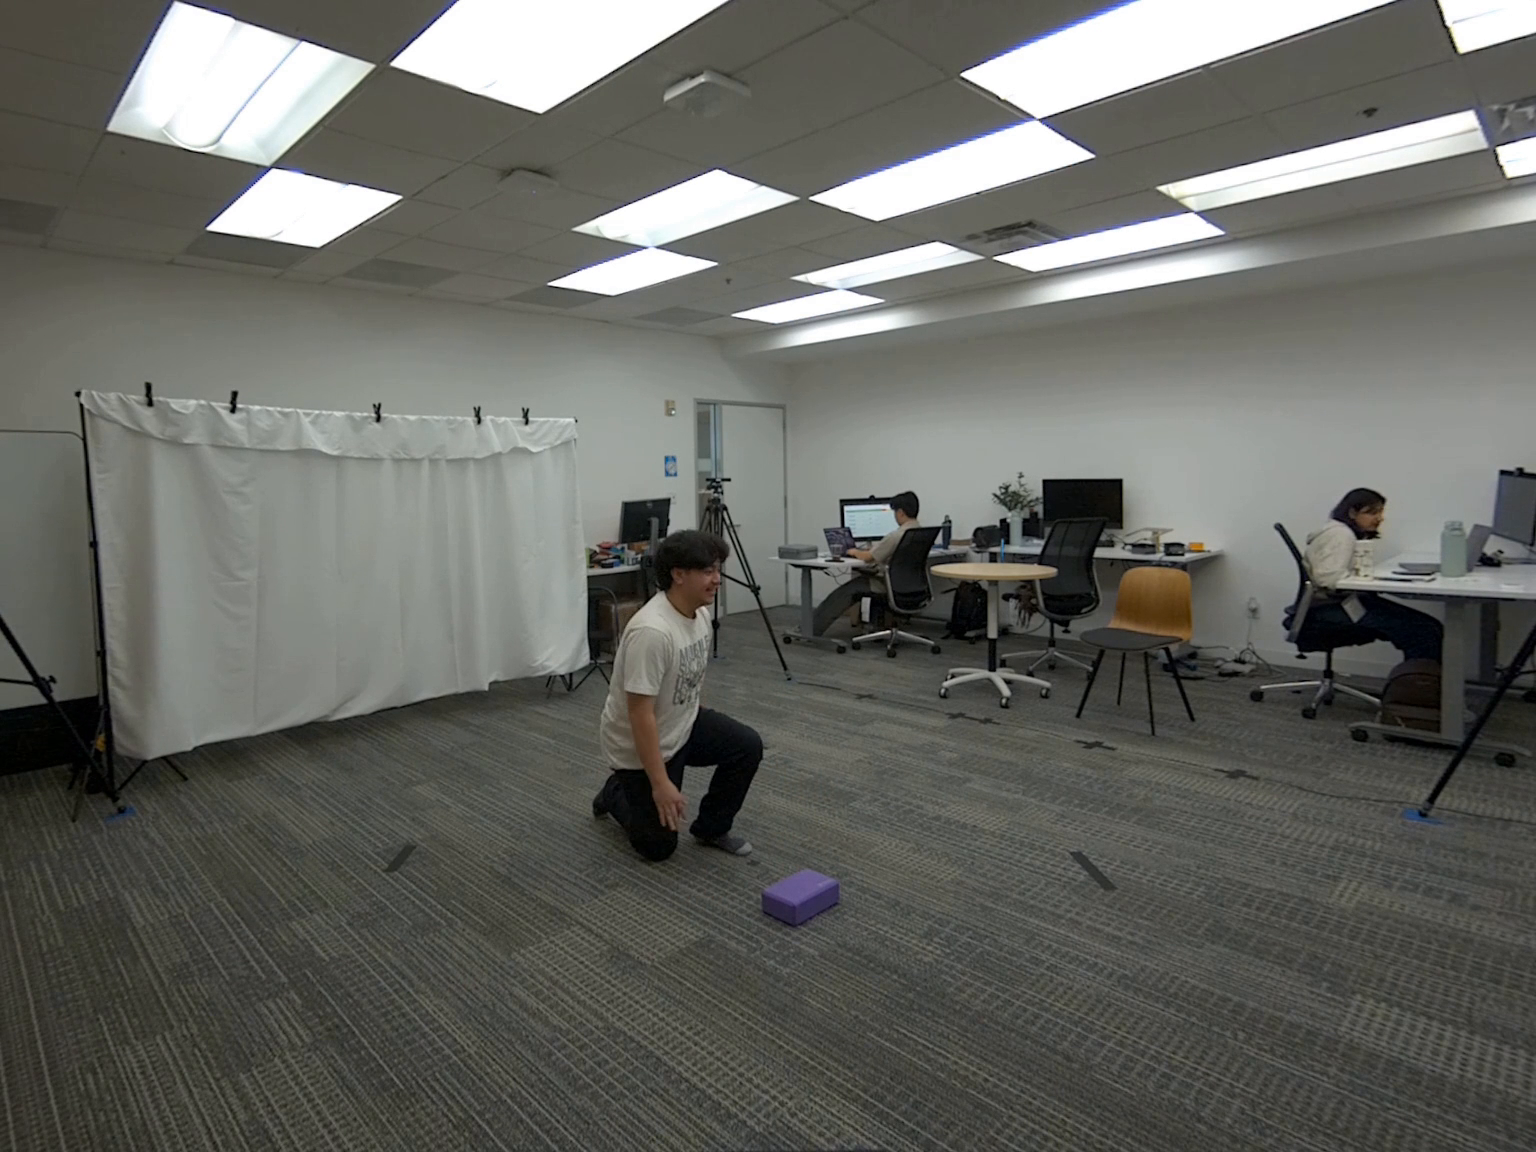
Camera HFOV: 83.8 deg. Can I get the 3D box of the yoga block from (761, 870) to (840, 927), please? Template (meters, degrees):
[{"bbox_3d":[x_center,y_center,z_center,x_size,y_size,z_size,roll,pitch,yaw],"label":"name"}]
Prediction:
[{"bbox_3d":[0.109,1.040,2.776,0.153,0.076,0.223,4,7,44],"label":"yoga block"}]
